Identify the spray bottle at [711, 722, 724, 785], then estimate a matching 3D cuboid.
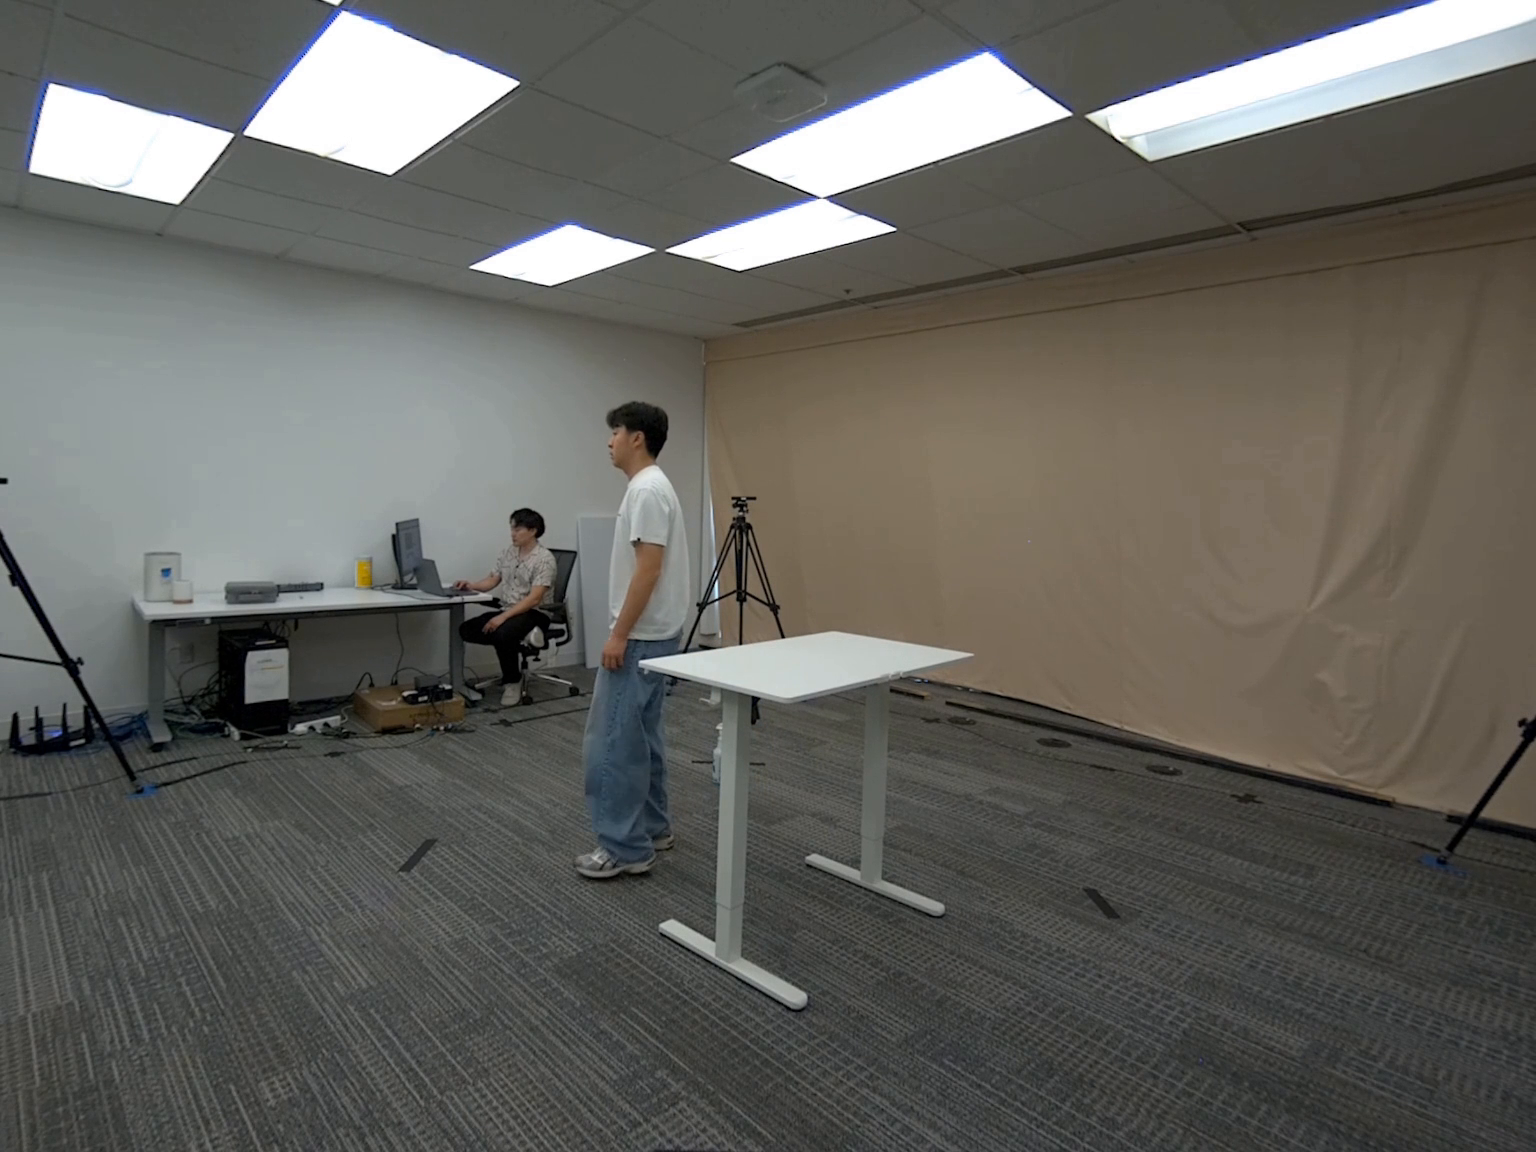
[{"bbox_3d":[-0.236,0.876,4.131,0.085,0.297,0.092,1,4,-35],"label":"spray bottle"}]
